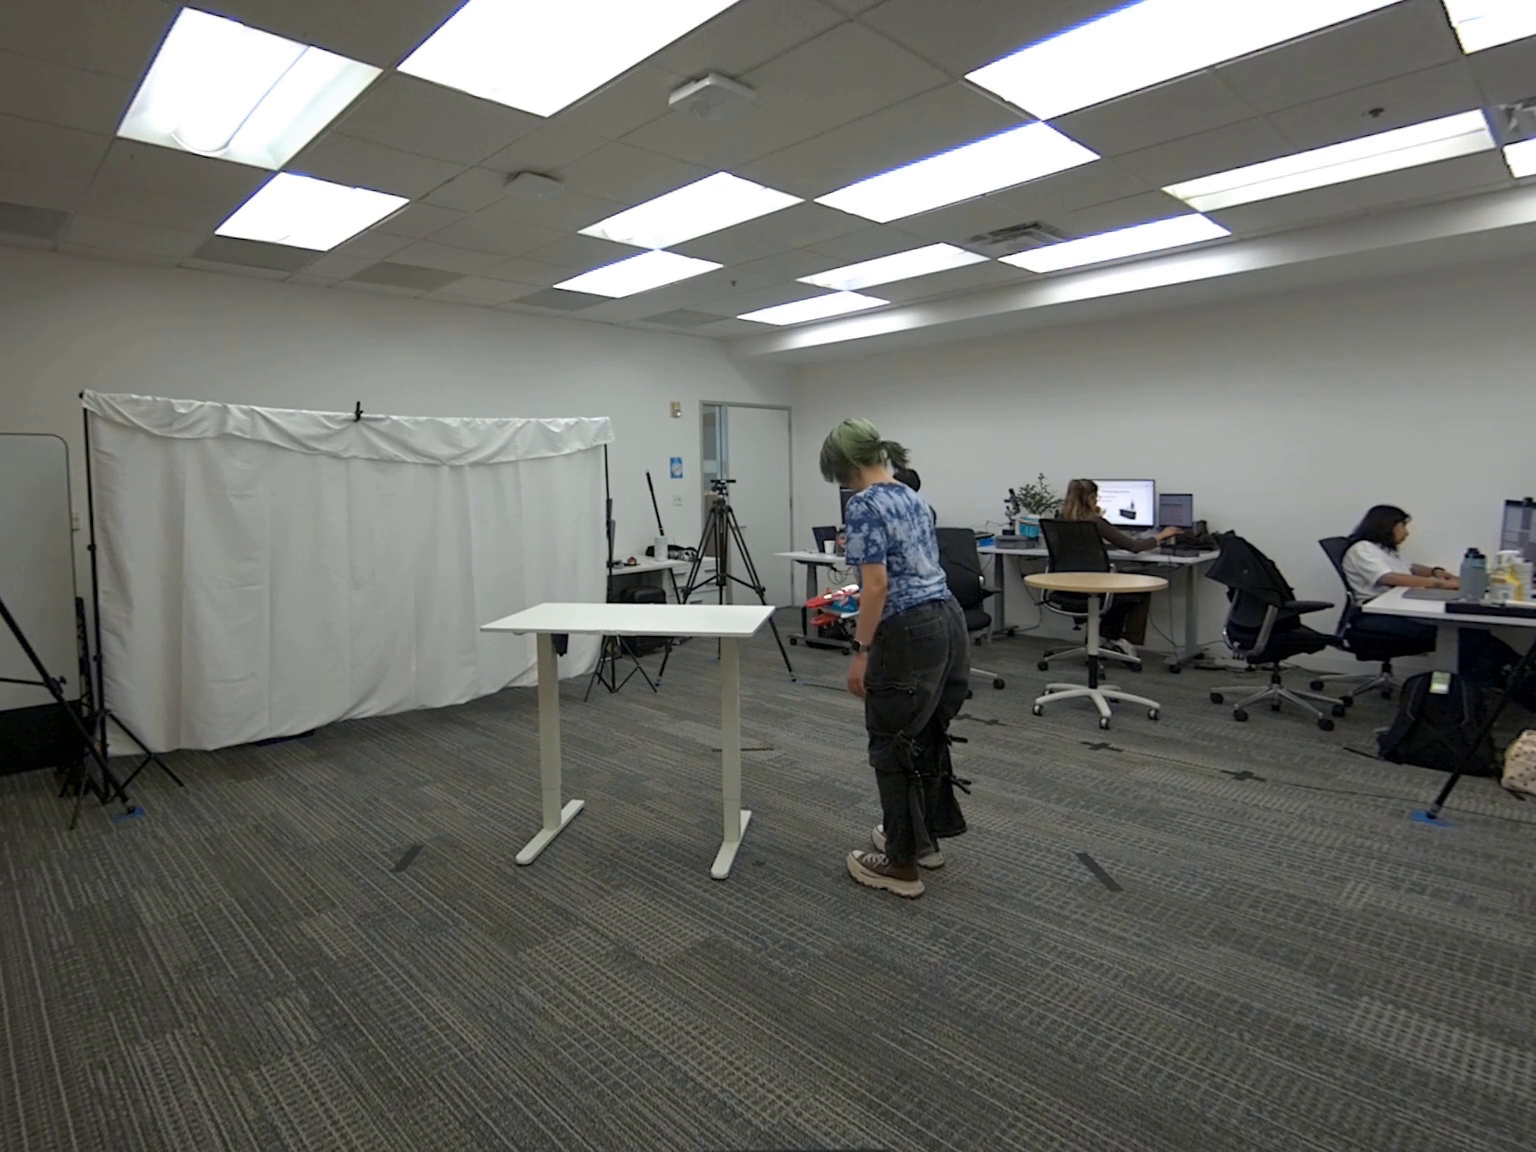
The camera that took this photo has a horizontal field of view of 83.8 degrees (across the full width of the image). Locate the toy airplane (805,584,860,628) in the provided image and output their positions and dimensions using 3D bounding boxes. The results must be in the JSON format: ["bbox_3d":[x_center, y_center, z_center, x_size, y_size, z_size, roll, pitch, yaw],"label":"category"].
[{"bbox_3d":[0.311,0.130,3.459,0.264,0.157,0.246,-18,-1,42],"label":"toy airplane"}]
